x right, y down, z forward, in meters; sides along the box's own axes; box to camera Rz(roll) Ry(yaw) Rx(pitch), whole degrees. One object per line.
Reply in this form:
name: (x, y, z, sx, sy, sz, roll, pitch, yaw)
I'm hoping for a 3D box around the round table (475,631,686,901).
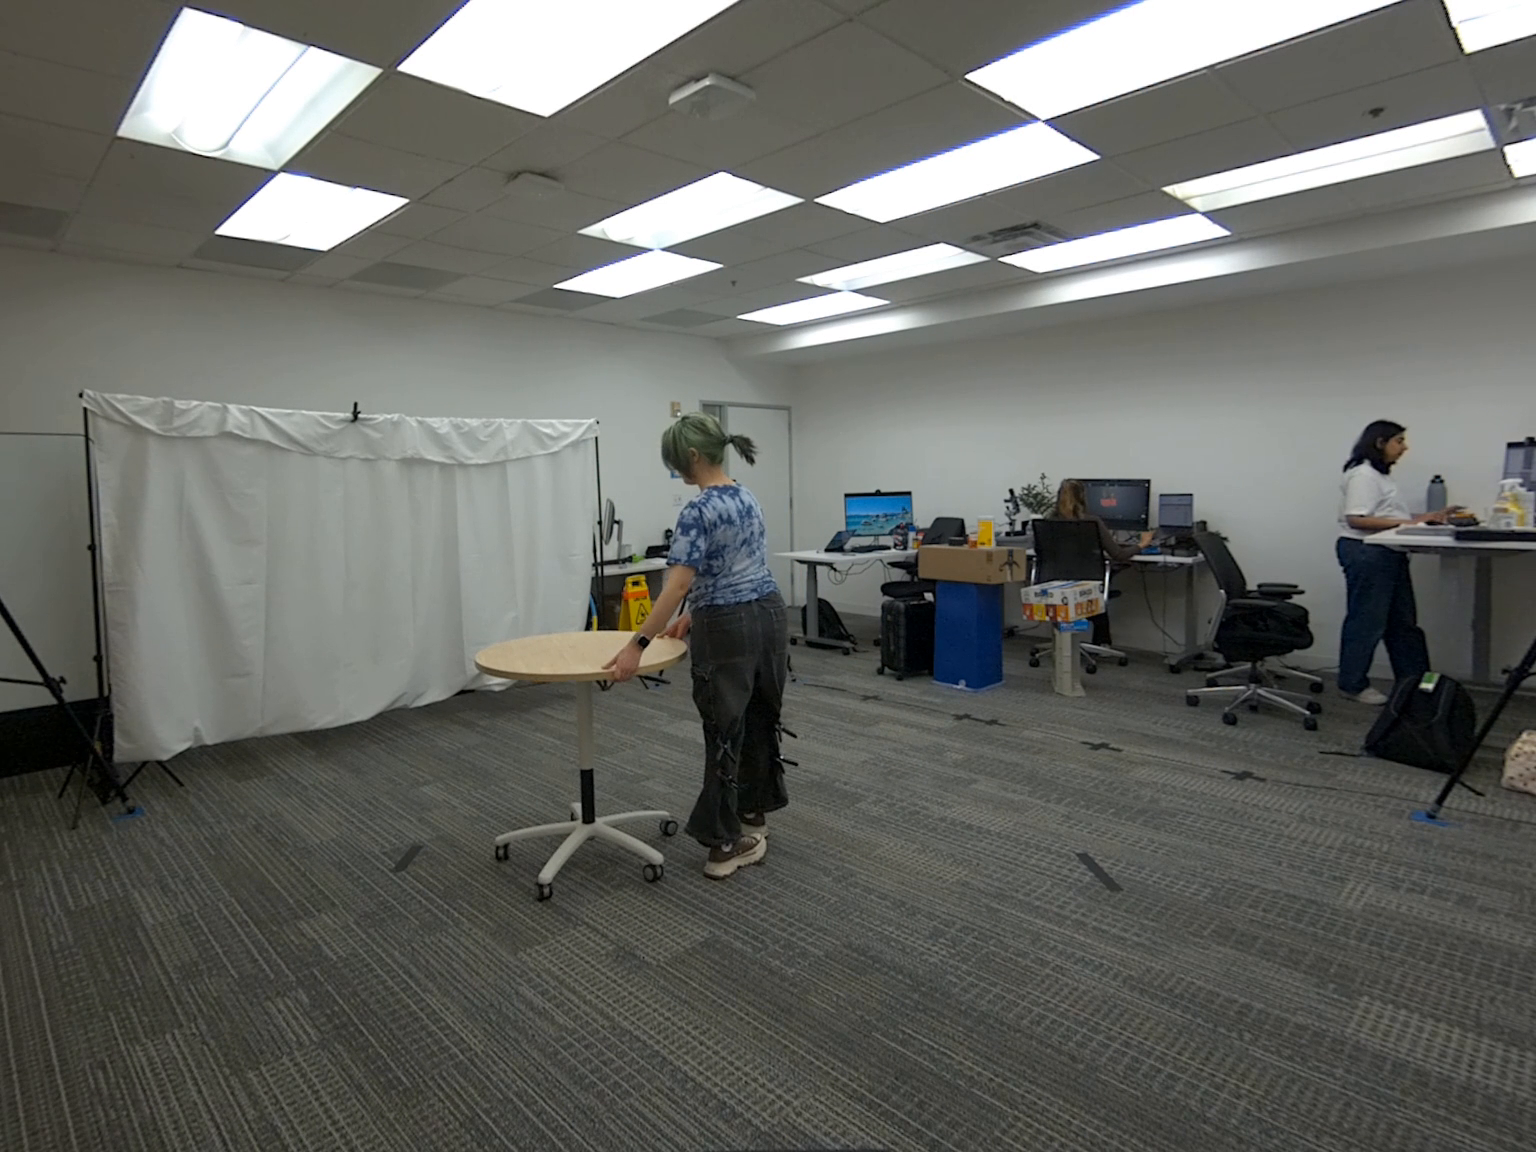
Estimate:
round table: (-0.663, 0.662, 3.156, 0.763, 0.791, 0.768, -1, 5, -2)
